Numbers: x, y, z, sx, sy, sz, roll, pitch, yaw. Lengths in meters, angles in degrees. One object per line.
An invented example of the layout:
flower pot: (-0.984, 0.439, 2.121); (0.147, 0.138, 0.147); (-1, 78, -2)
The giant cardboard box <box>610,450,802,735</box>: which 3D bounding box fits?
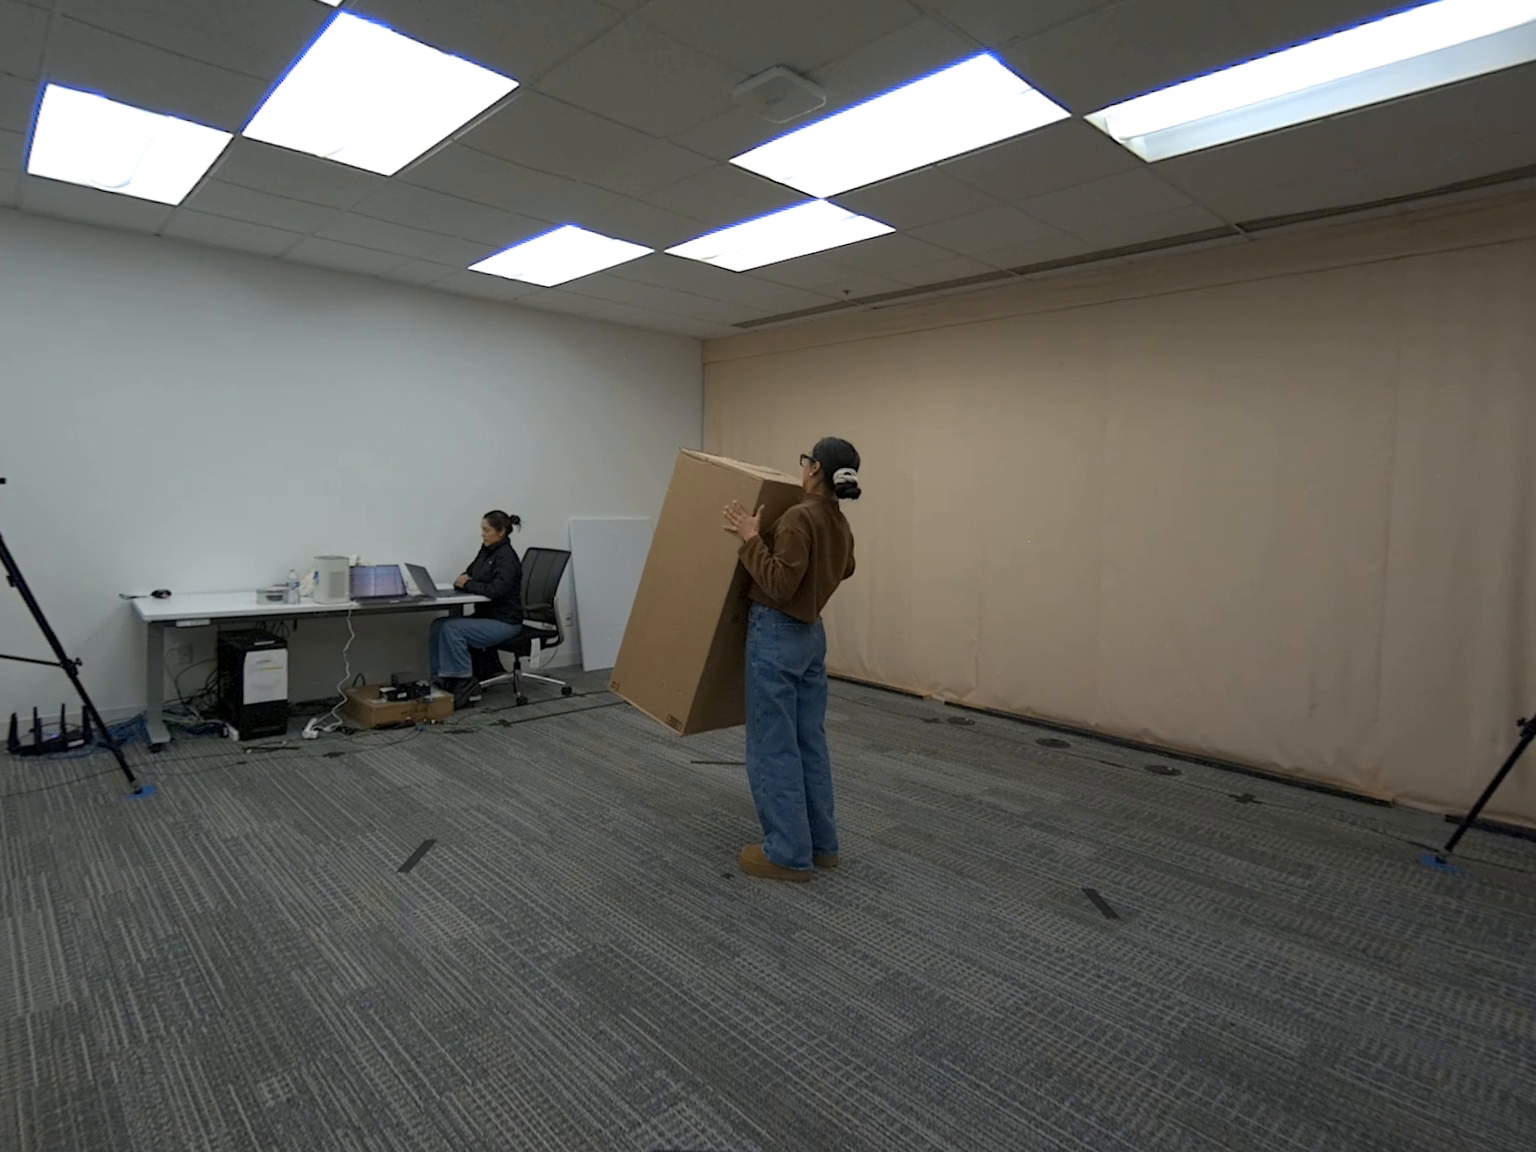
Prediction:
giant cardboard box: (-0.186, 0.060, 3.430); (0.438, 1.021, 0.563); (24, 11, 34)
